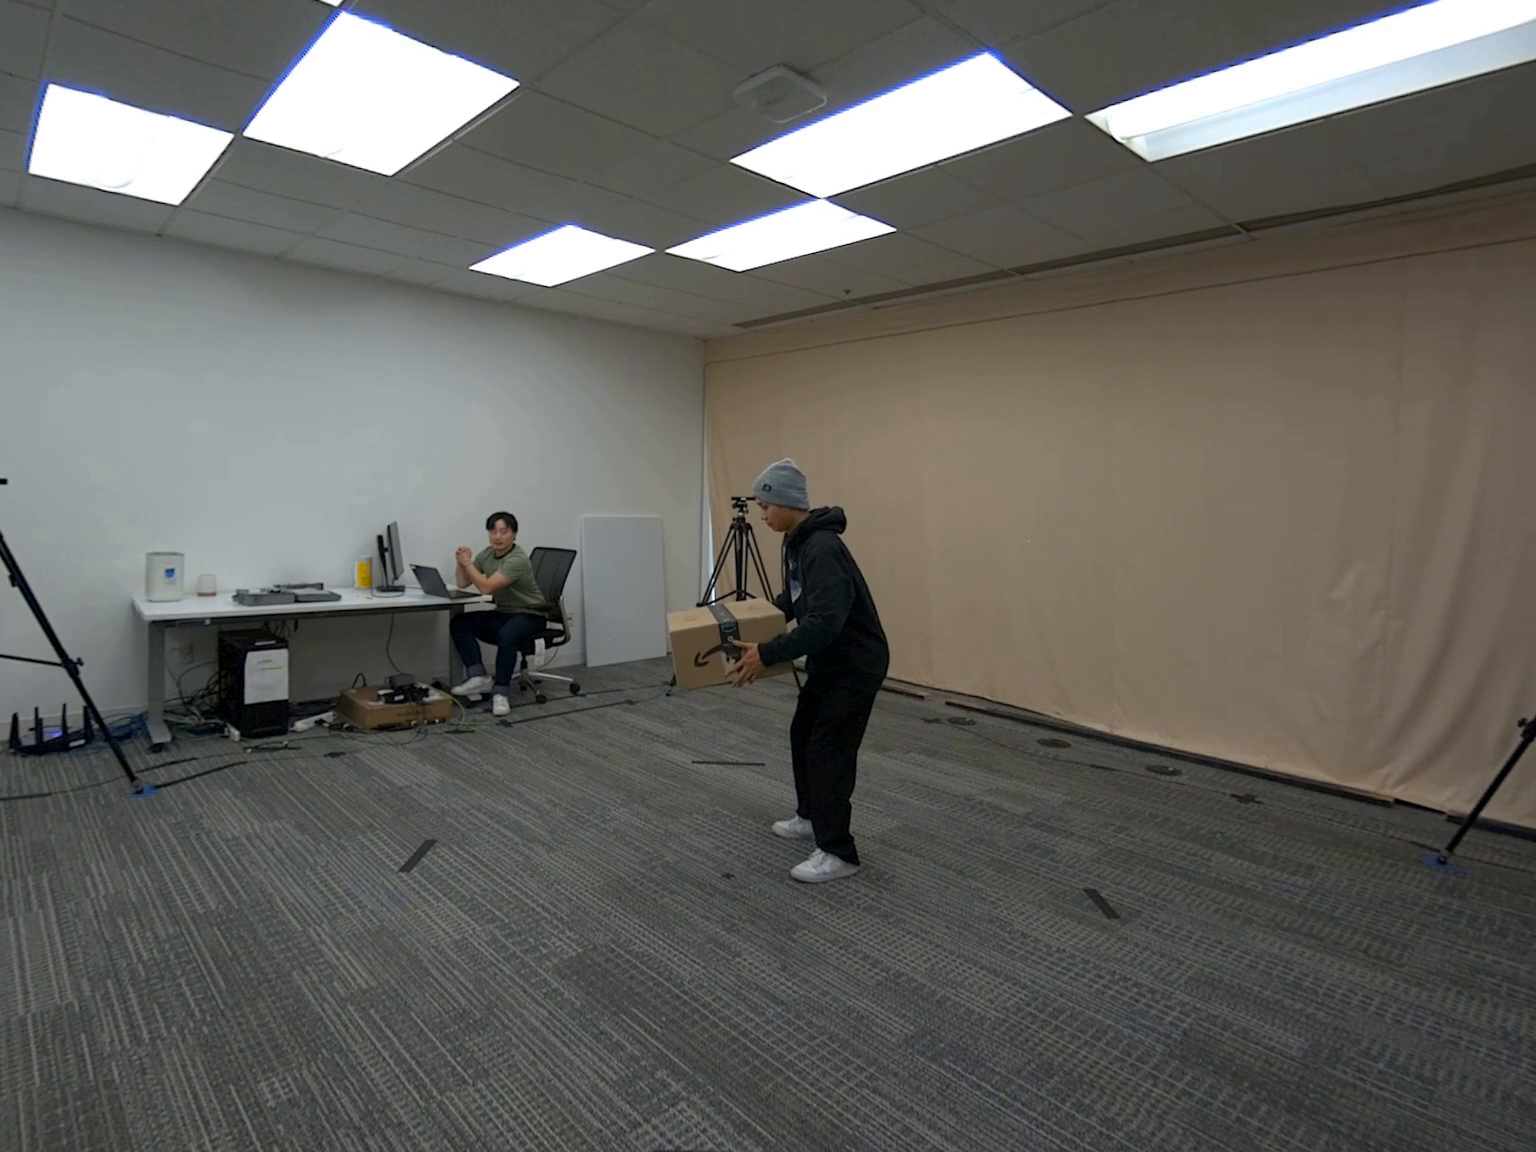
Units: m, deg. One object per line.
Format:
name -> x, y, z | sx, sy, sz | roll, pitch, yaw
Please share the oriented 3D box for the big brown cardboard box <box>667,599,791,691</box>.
big brown cardboard box -> -0.169, 0.250, 3.249 | 0.416, 0.232, 0.592 | -10, 4, -6
